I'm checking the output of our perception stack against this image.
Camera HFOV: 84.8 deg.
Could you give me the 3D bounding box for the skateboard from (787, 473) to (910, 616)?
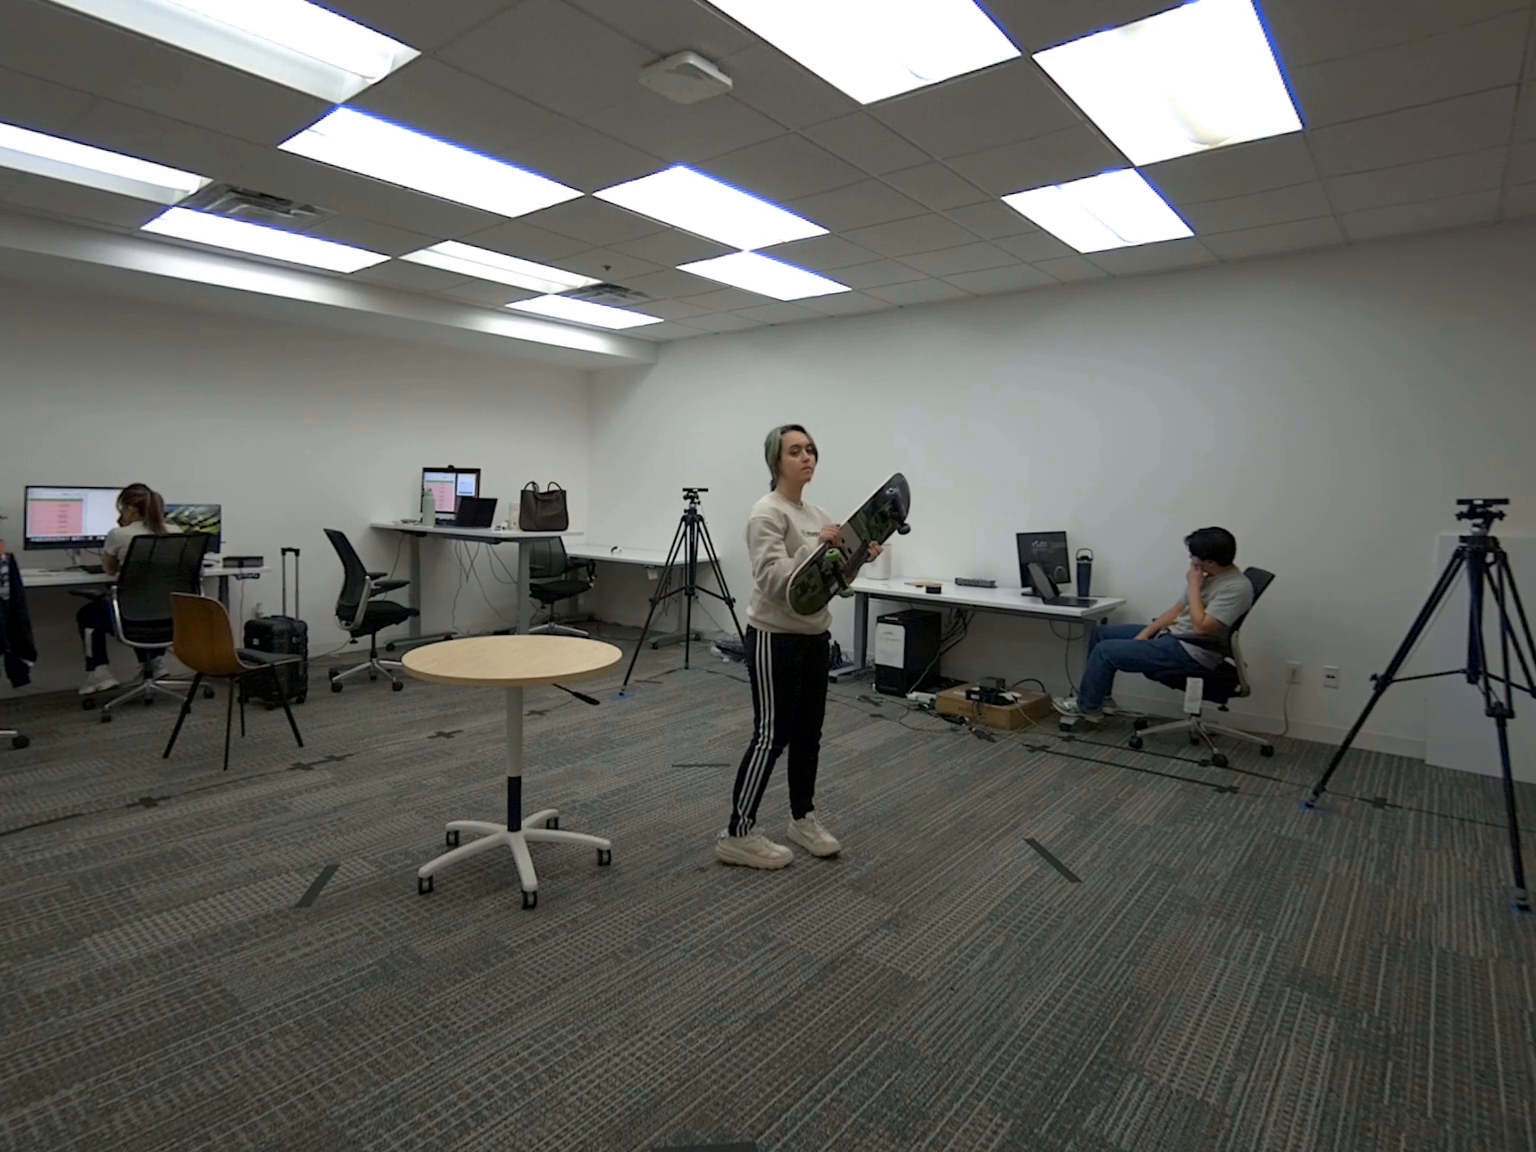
[{"bbox_3d":[0.327,-0.126,3.051,0.114,0.187,0.782,8,40,44],"label":"skateboard"}]
